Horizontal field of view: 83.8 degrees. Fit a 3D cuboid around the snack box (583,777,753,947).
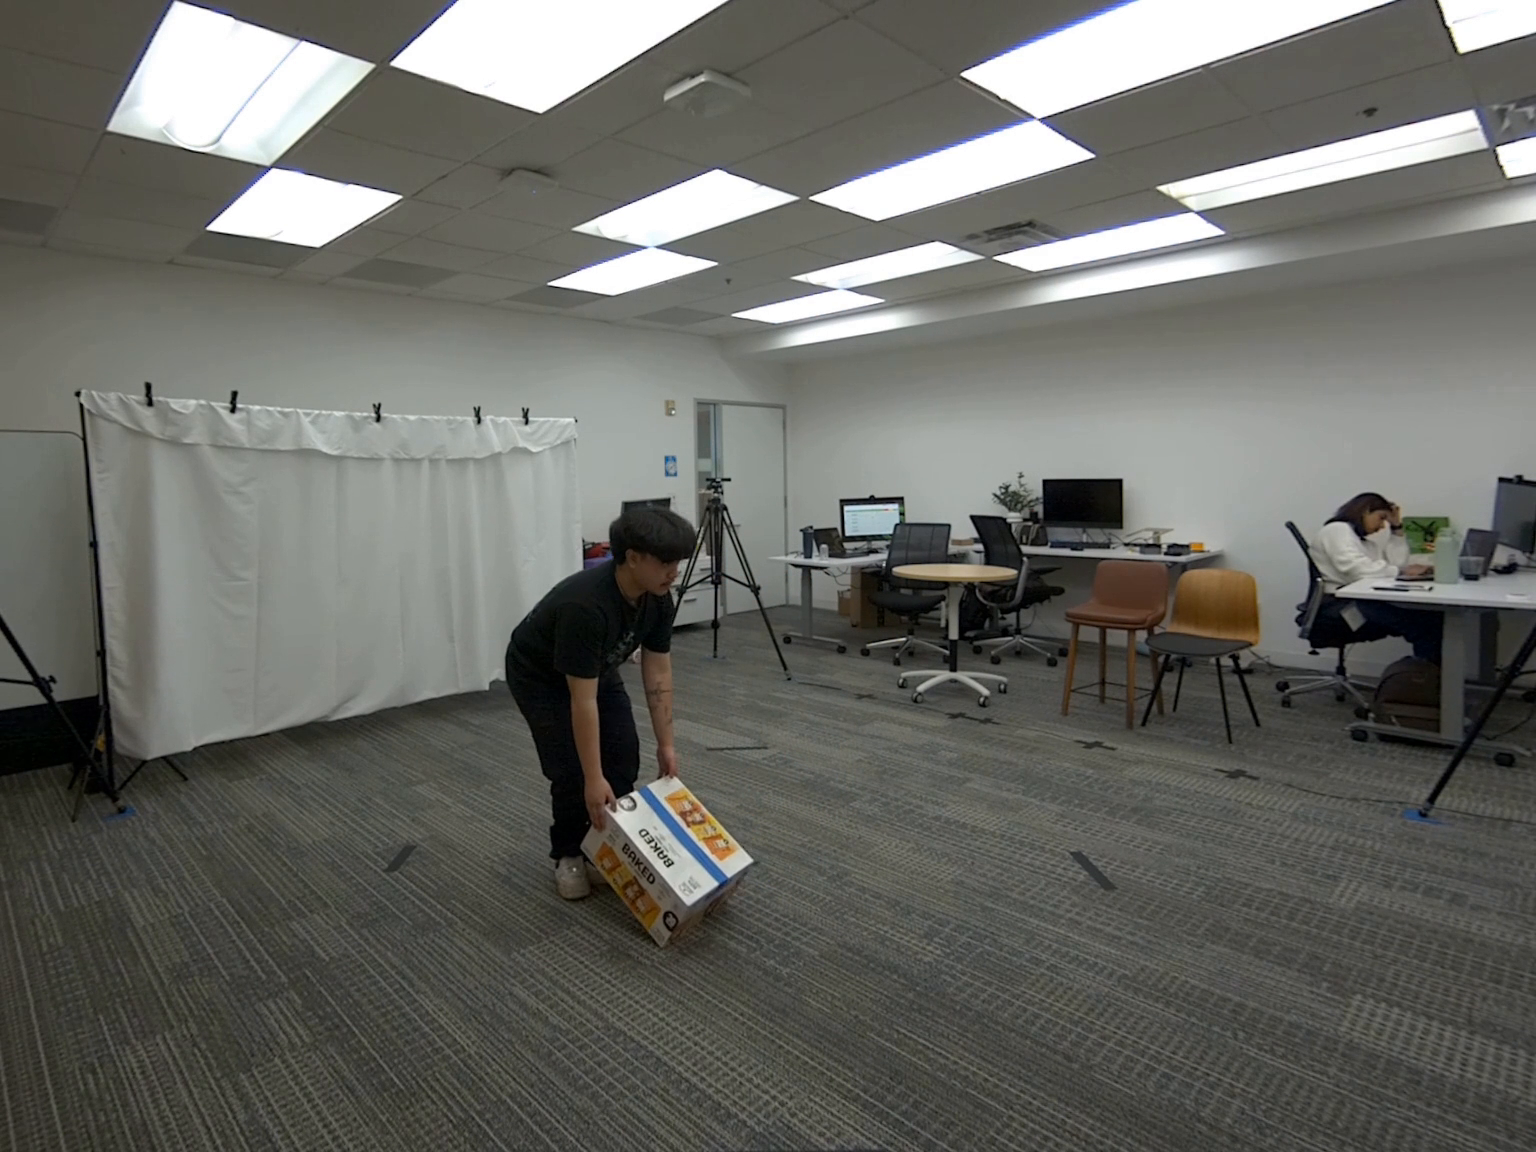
[{"bbox_3d":[-0.323,0.893,2.734,0.418,0.204,0.332,41,26,25],"label":"snack box"}]
